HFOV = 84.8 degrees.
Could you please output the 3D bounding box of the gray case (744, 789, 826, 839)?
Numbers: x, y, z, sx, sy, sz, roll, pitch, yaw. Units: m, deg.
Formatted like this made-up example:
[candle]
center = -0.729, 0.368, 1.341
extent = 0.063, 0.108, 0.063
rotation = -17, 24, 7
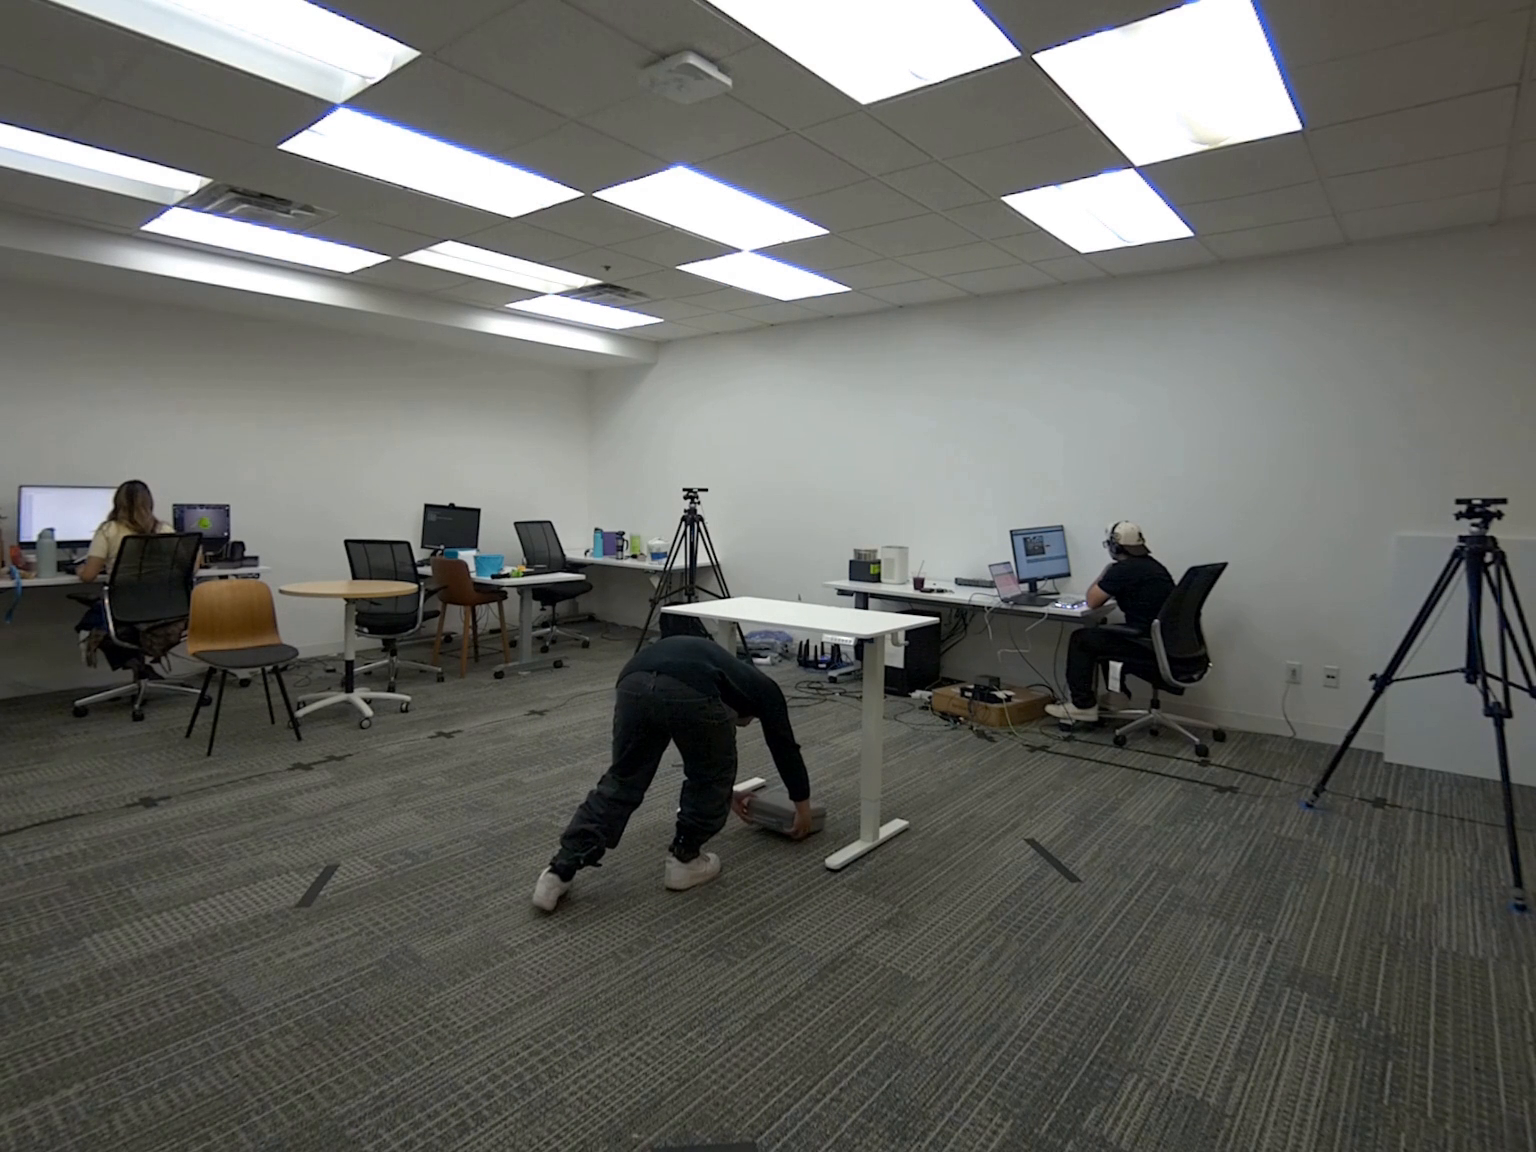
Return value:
[gray case]
center = 0.068, 0.969, 3.490
extent = 0.269, 0.104, 0.248
rotation = 6, 0, 35
